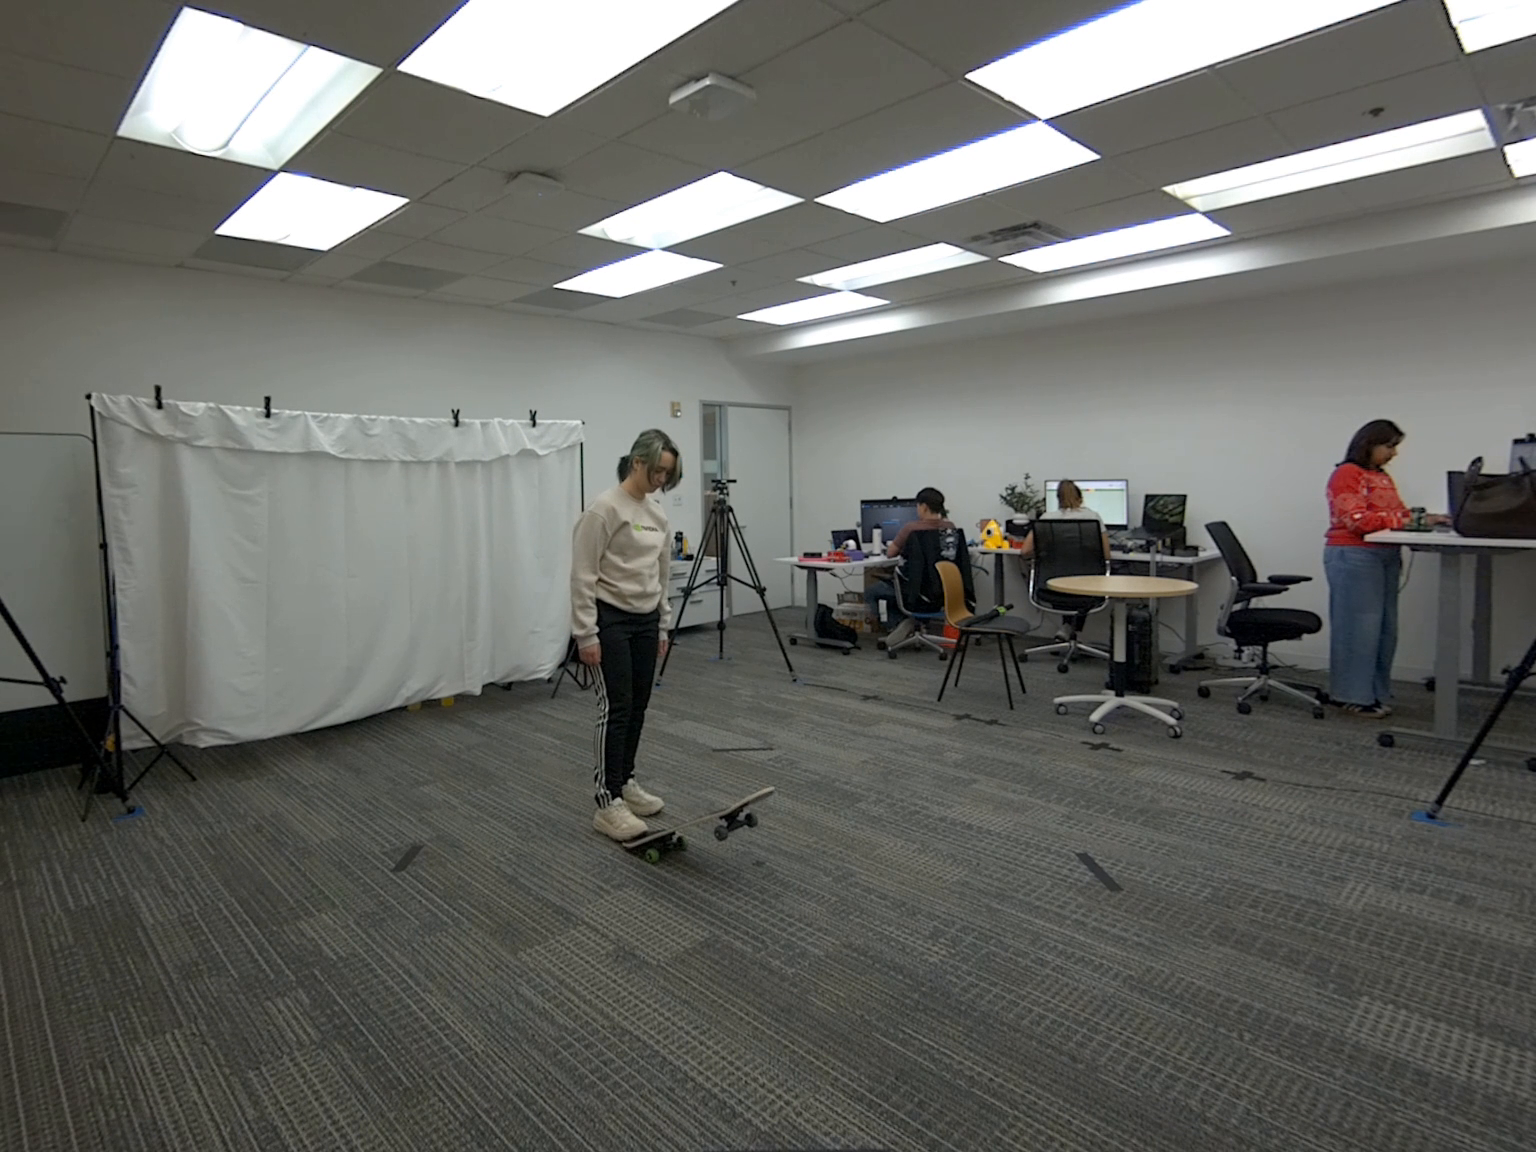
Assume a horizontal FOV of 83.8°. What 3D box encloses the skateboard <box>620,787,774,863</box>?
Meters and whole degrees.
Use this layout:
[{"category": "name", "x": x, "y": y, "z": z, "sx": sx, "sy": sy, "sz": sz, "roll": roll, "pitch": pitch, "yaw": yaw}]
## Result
[{"category": "skateboard", "x": -0.253, "y": 0.917, "z": 3.067, "sx": 0.188, "sy": 0.112, "sz": 0.792, "roll": -7, "pitch": -19, "yaw": -48}]
